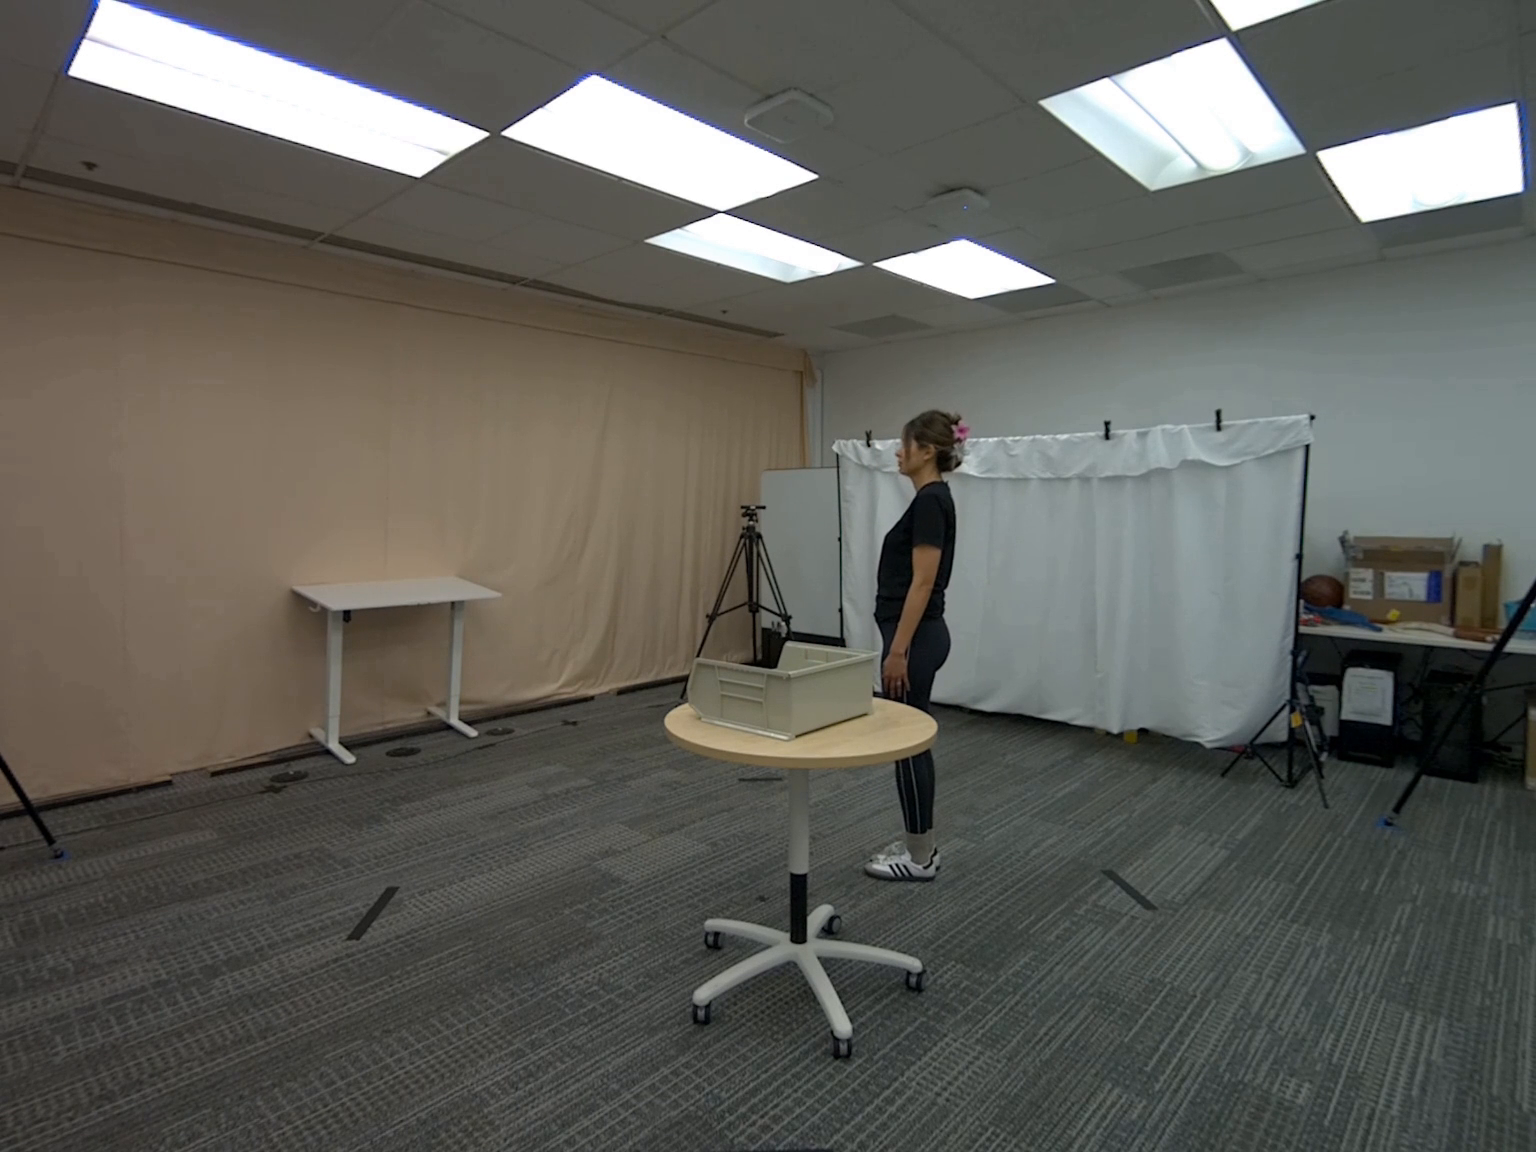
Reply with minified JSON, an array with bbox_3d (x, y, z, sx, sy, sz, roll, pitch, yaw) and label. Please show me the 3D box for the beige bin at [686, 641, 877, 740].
[{"bbox_3d":[0.049,0.318,2.423,0.390,0.188,0.409,5,6,41],"label":"beige bin"}]
